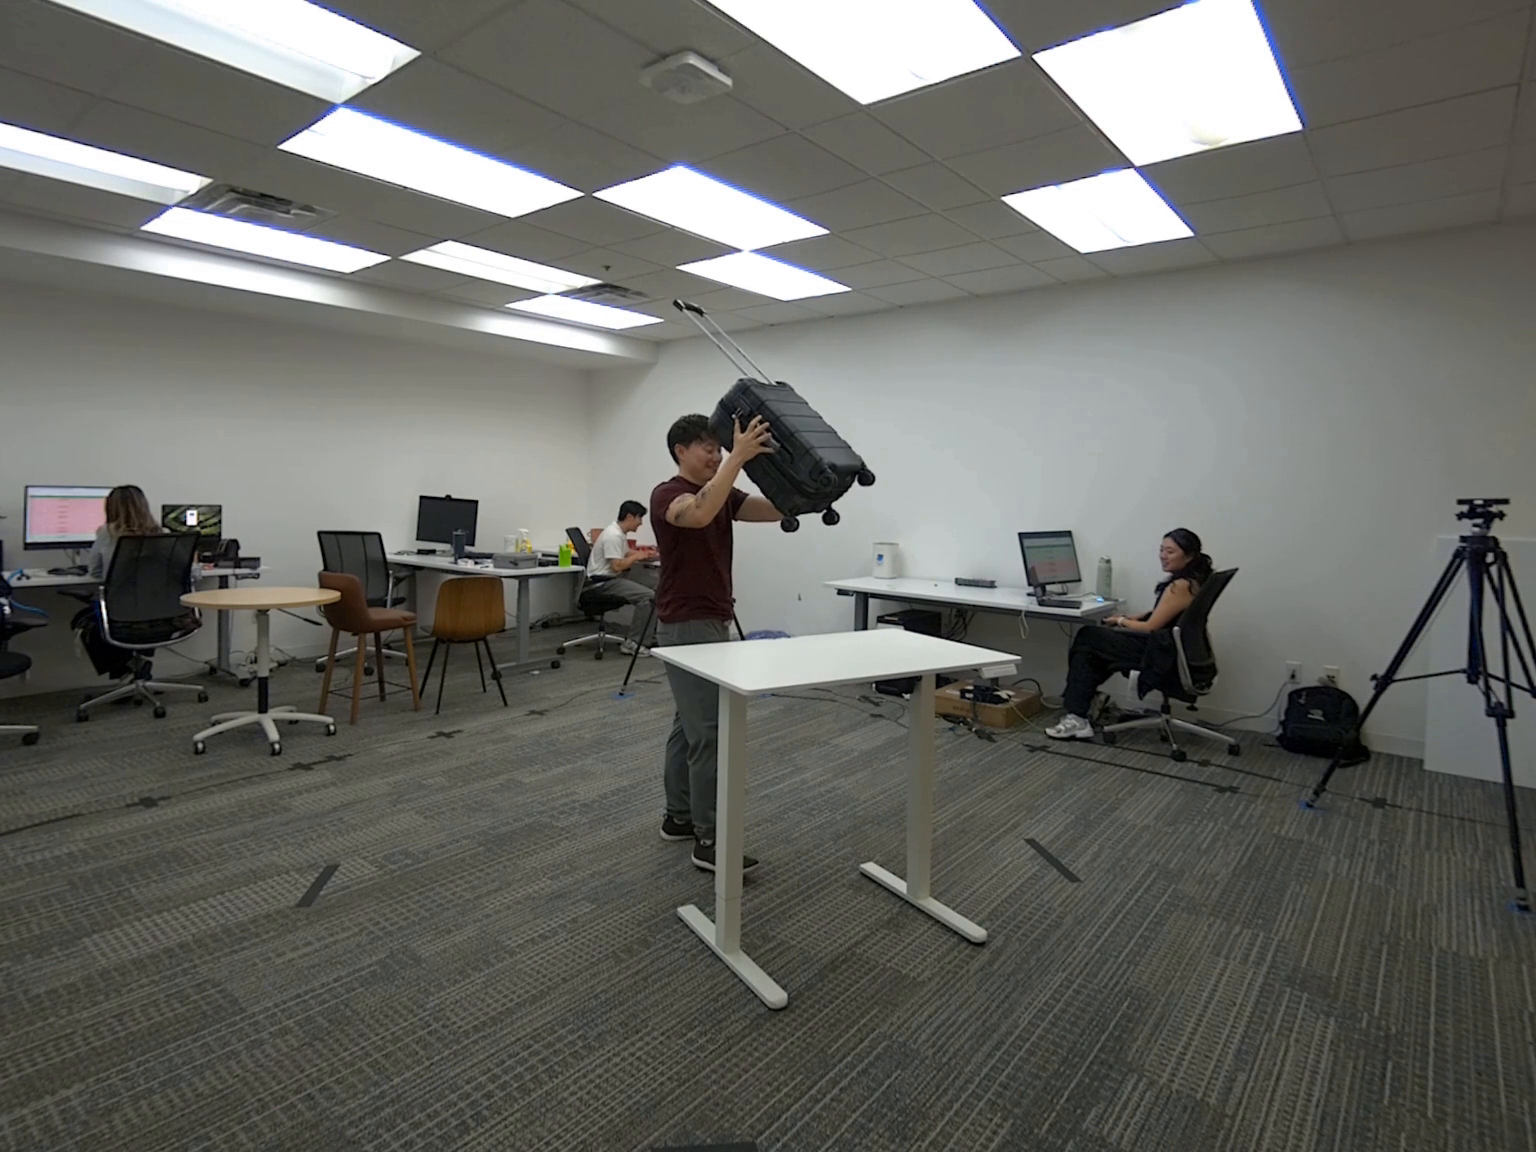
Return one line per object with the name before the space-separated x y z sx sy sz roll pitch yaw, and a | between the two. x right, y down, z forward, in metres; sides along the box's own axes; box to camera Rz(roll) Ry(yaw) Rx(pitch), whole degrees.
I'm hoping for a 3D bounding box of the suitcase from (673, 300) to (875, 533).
suitcase | -0.066 -0.608 3.106 1.006 0.256 0.374 49 28 20
